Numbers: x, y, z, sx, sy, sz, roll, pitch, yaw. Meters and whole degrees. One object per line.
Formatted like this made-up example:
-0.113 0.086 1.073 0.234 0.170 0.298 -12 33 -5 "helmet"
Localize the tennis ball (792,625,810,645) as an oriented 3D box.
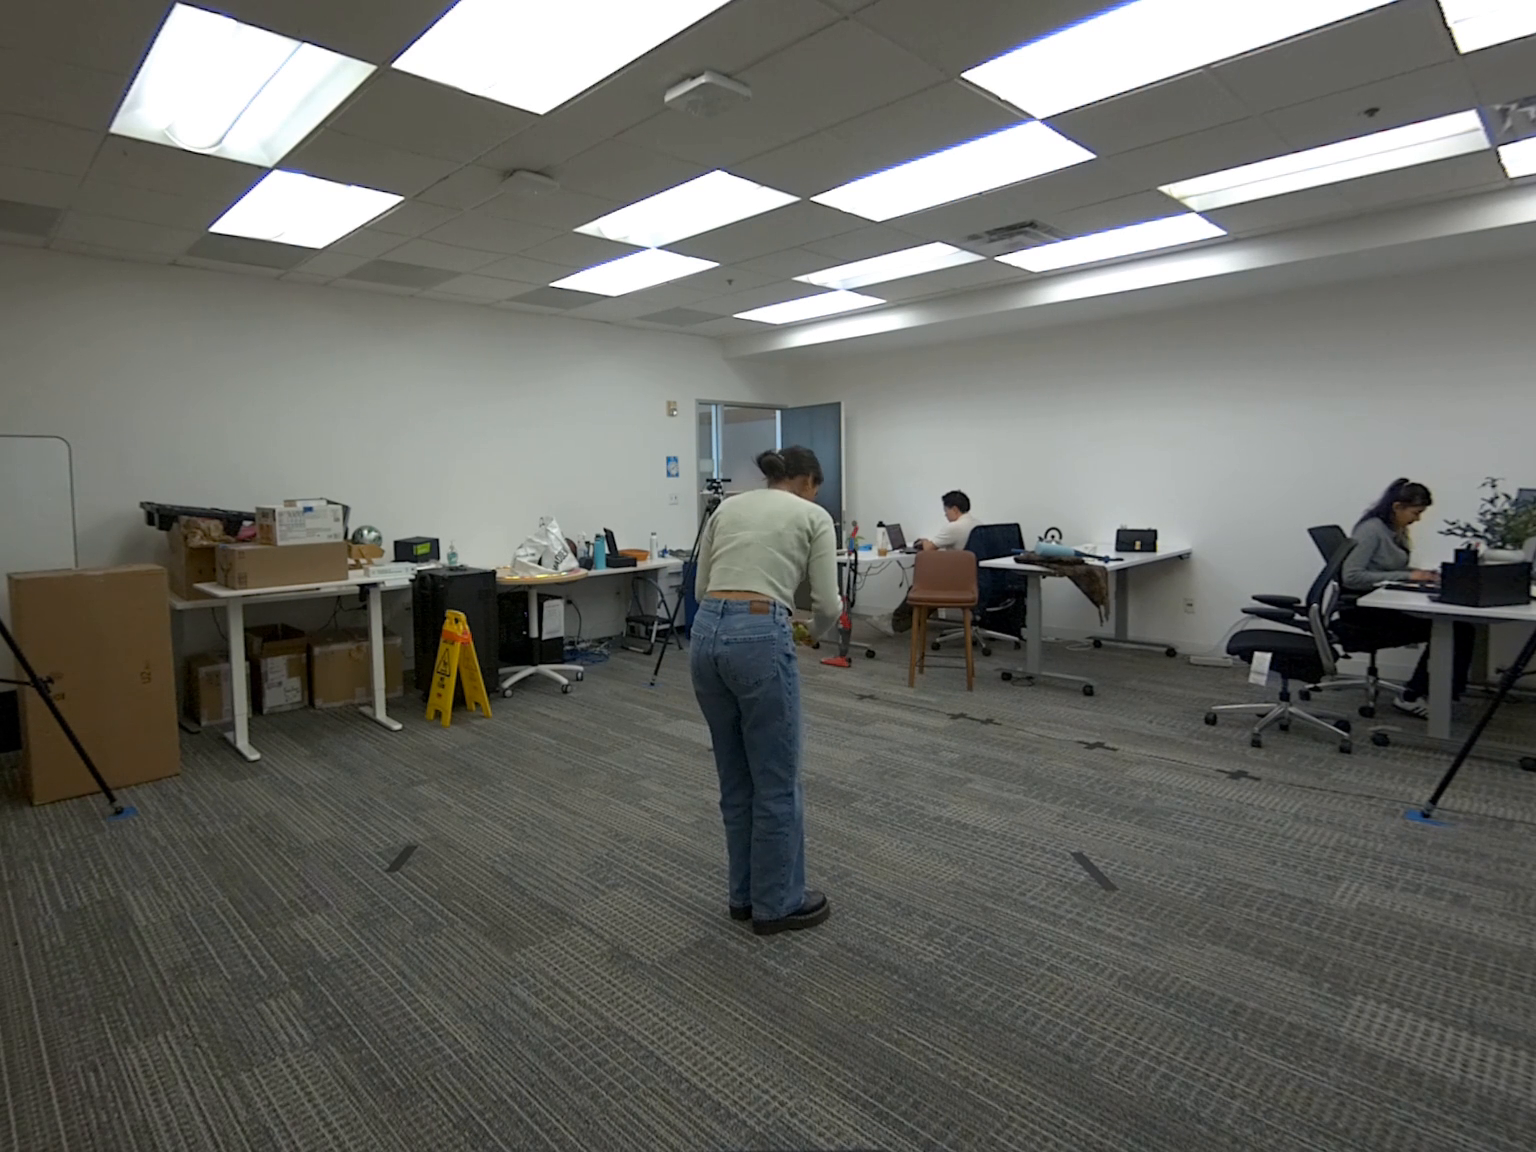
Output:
0.143 0.234 2.913 0.066 0.066 0.067 -1 5 -2 "tennis ball"
